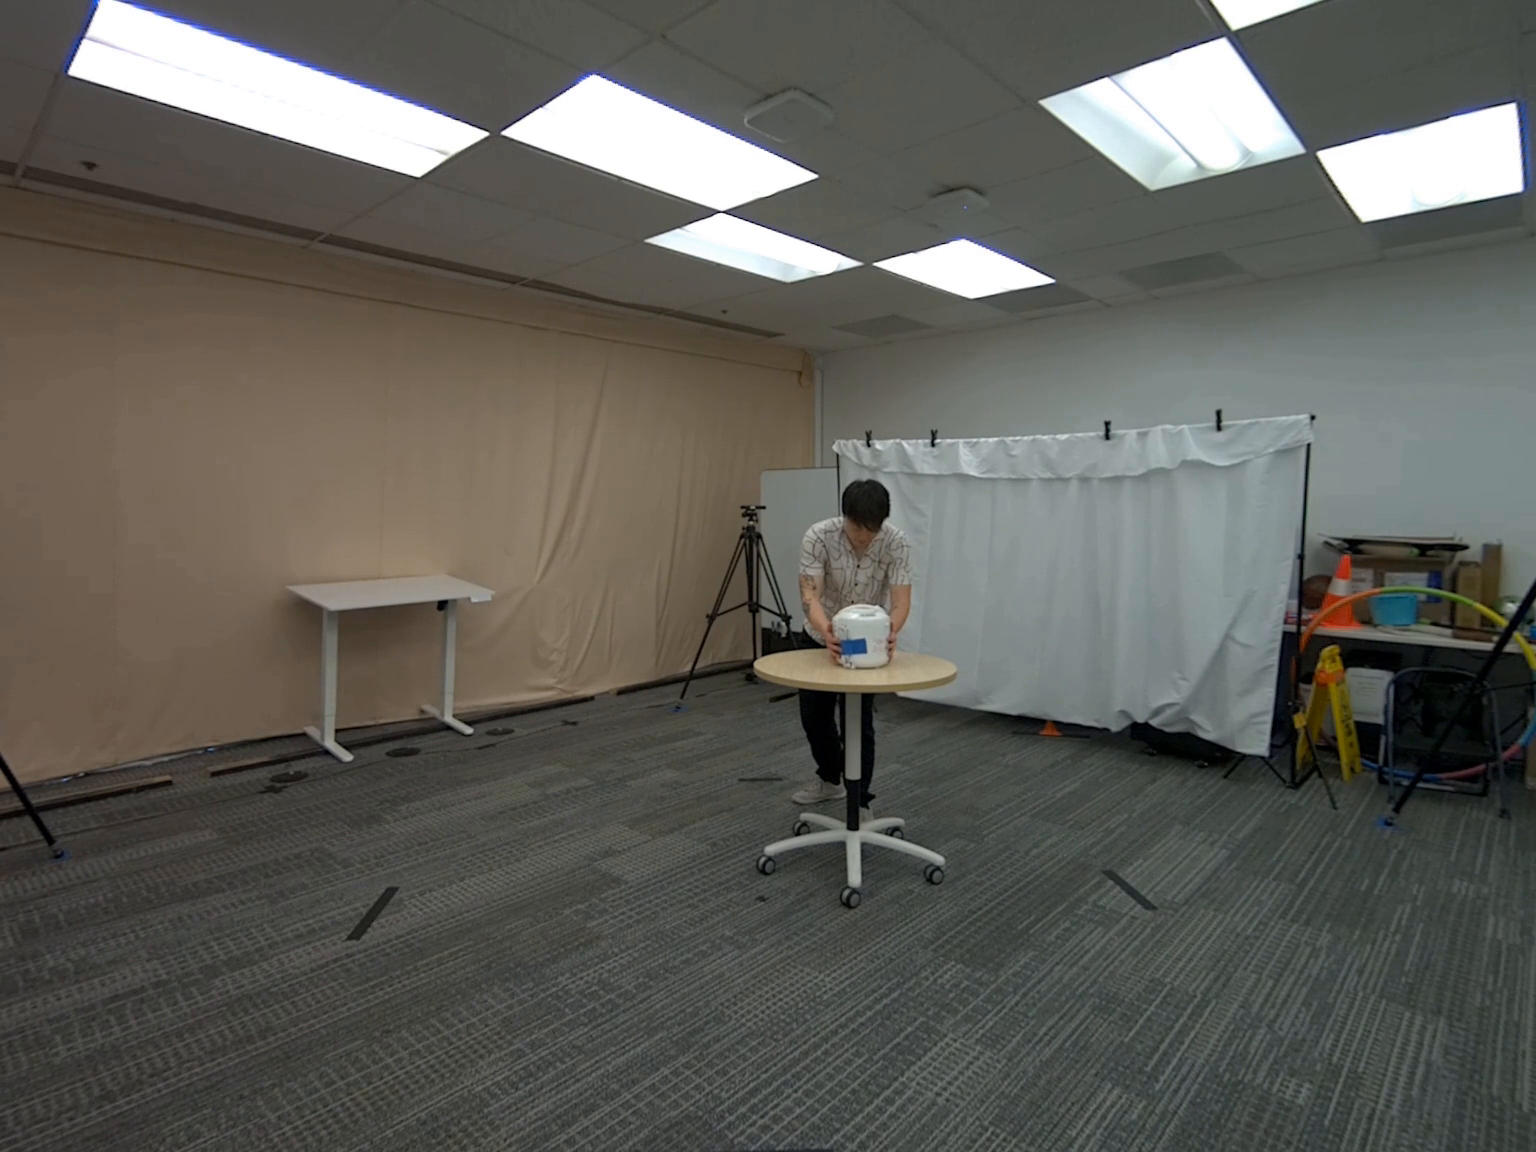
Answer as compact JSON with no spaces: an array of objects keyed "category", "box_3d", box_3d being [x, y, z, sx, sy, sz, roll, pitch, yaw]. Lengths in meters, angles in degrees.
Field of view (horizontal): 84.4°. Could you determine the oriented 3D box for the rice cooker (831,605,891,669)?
[{"category":"rice cooker","box_3d":[0.356,0.224,3.220,0.220,0.232,0.219,1,4,-4]}]
